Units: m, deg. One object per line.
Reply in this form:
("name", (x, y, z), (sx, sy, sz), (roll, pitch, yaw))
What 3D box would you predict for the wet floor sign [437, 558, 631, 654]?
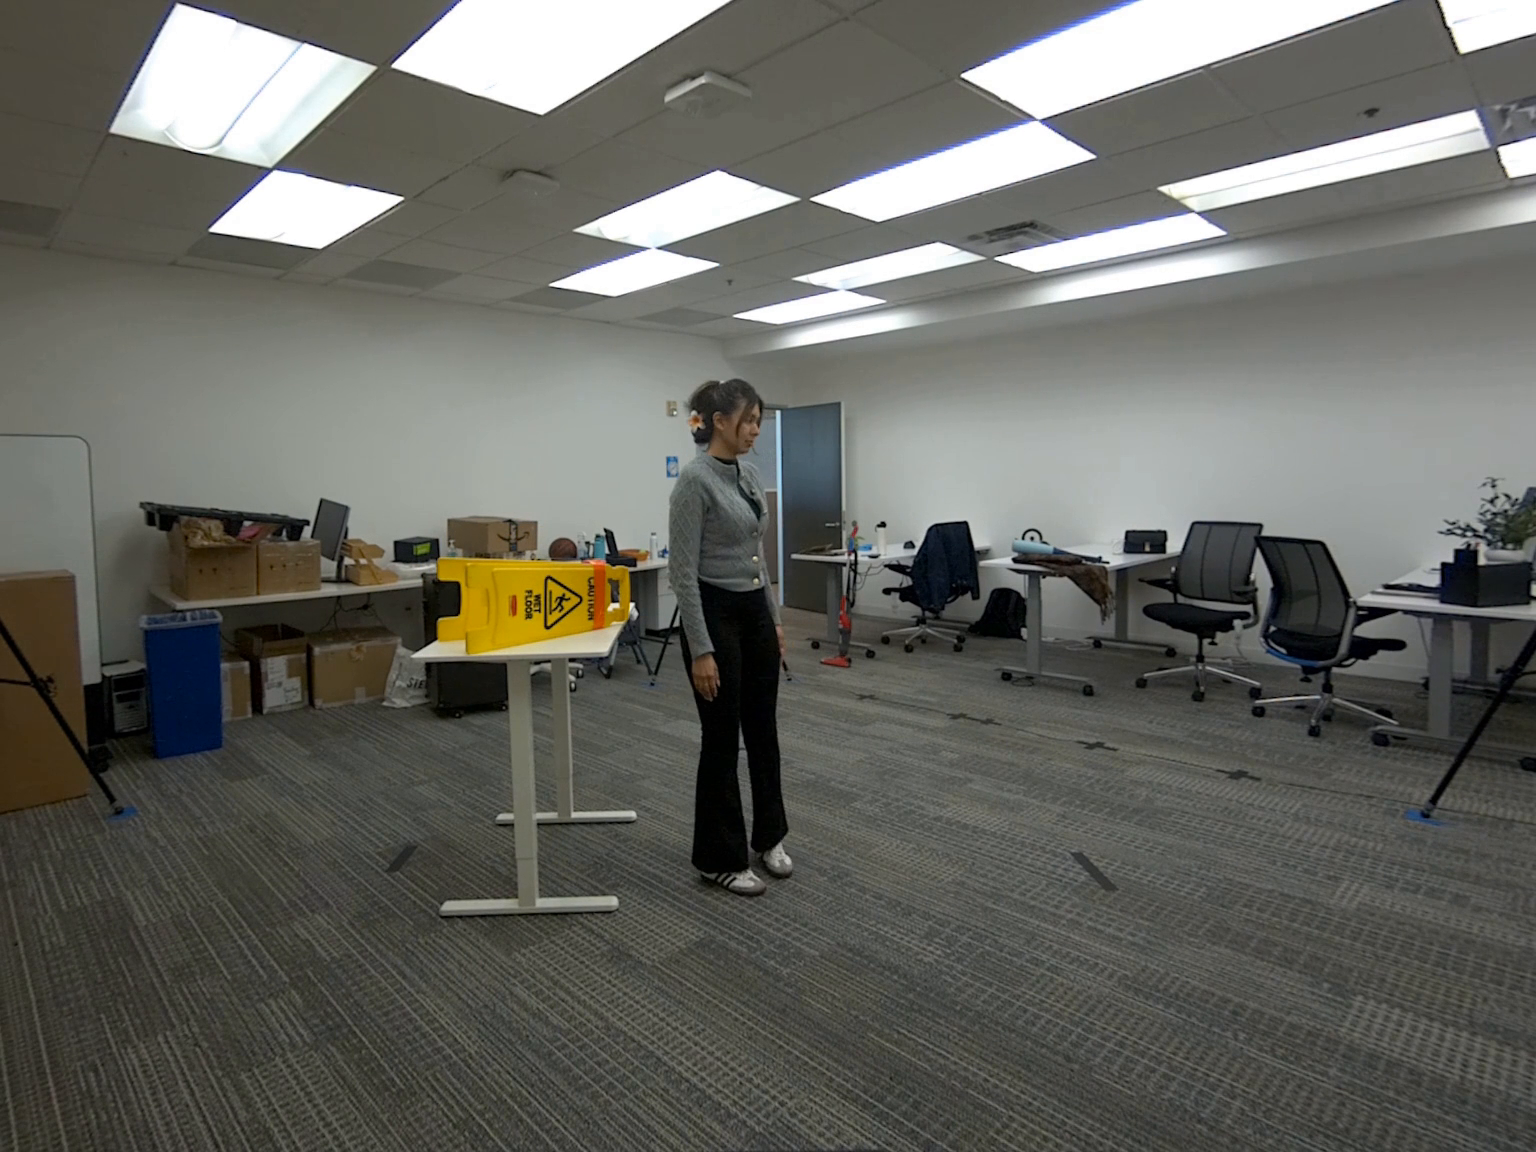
("wet floor sign", (-0.754, 0.080, 2.903), (0.629, 0.281, 0.298), (-3, 5, -36))
